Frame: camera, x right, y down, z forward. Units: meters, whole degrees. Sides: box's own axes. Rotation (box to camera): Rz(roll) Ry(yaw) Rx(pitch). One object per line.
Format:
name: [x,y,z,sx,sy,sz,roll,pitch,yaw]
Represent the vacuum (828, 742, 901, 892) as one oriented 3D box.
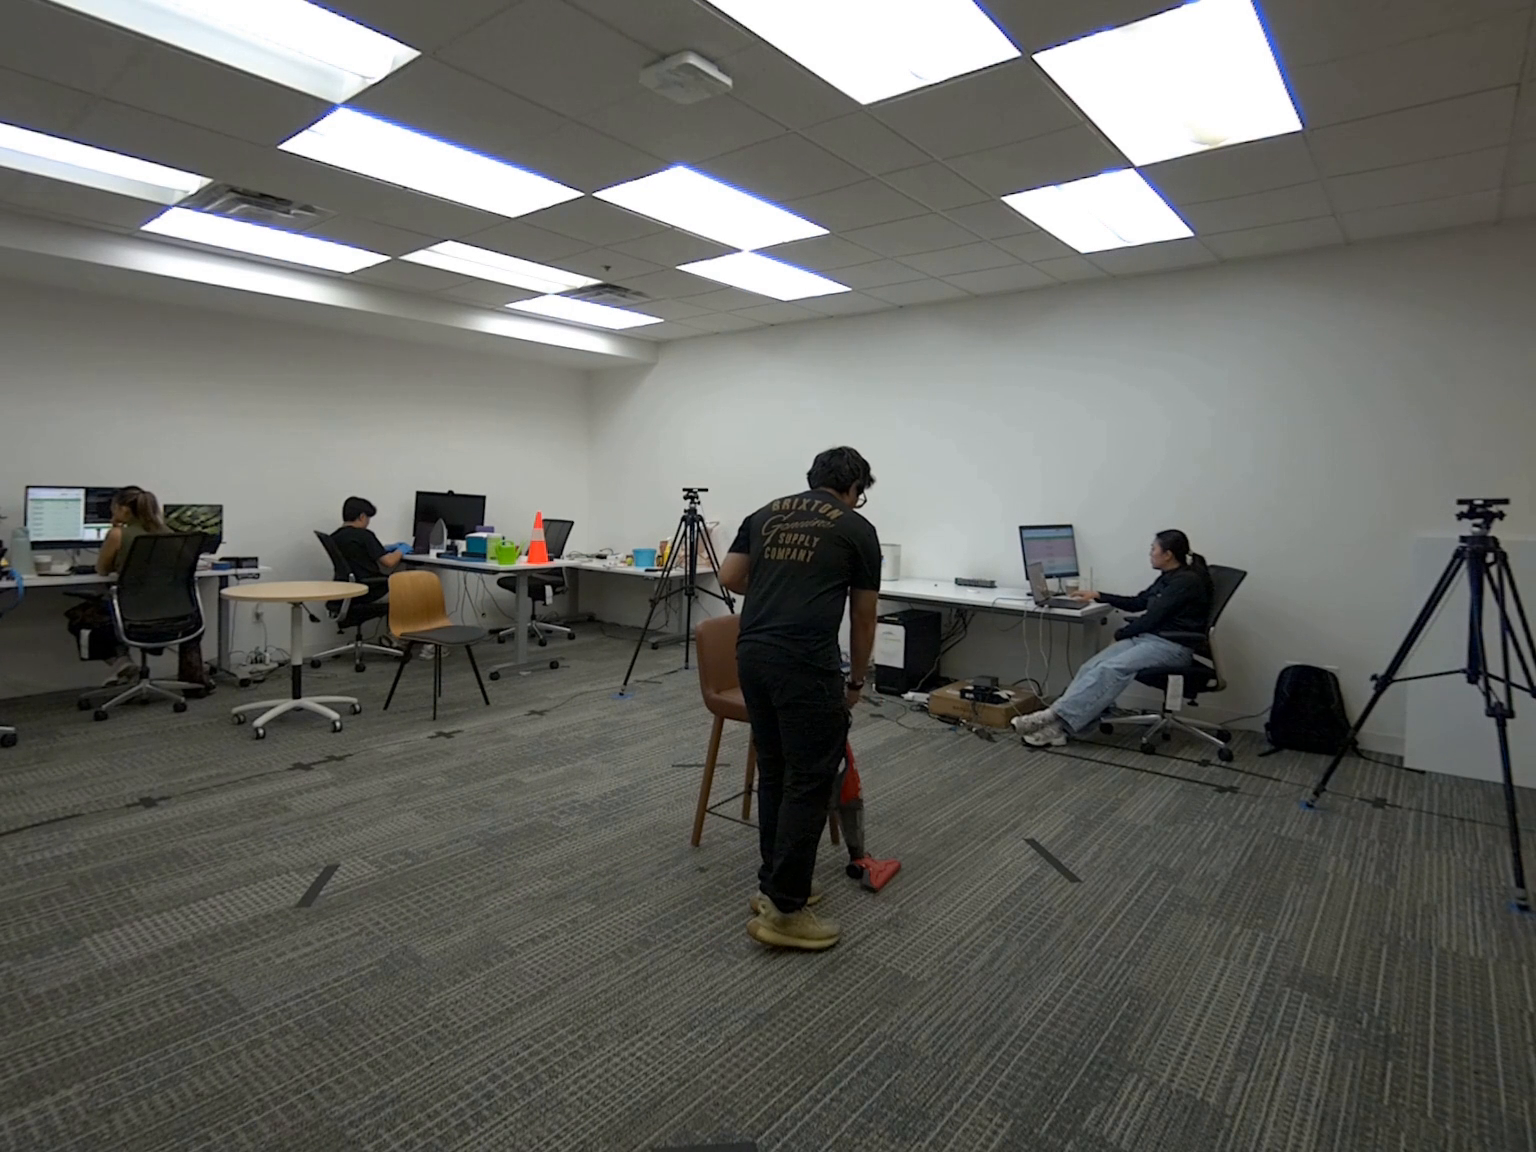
vacuum: [0.231,0.578,3.164,0.146,1.061,0.246,-19,-10,25]
